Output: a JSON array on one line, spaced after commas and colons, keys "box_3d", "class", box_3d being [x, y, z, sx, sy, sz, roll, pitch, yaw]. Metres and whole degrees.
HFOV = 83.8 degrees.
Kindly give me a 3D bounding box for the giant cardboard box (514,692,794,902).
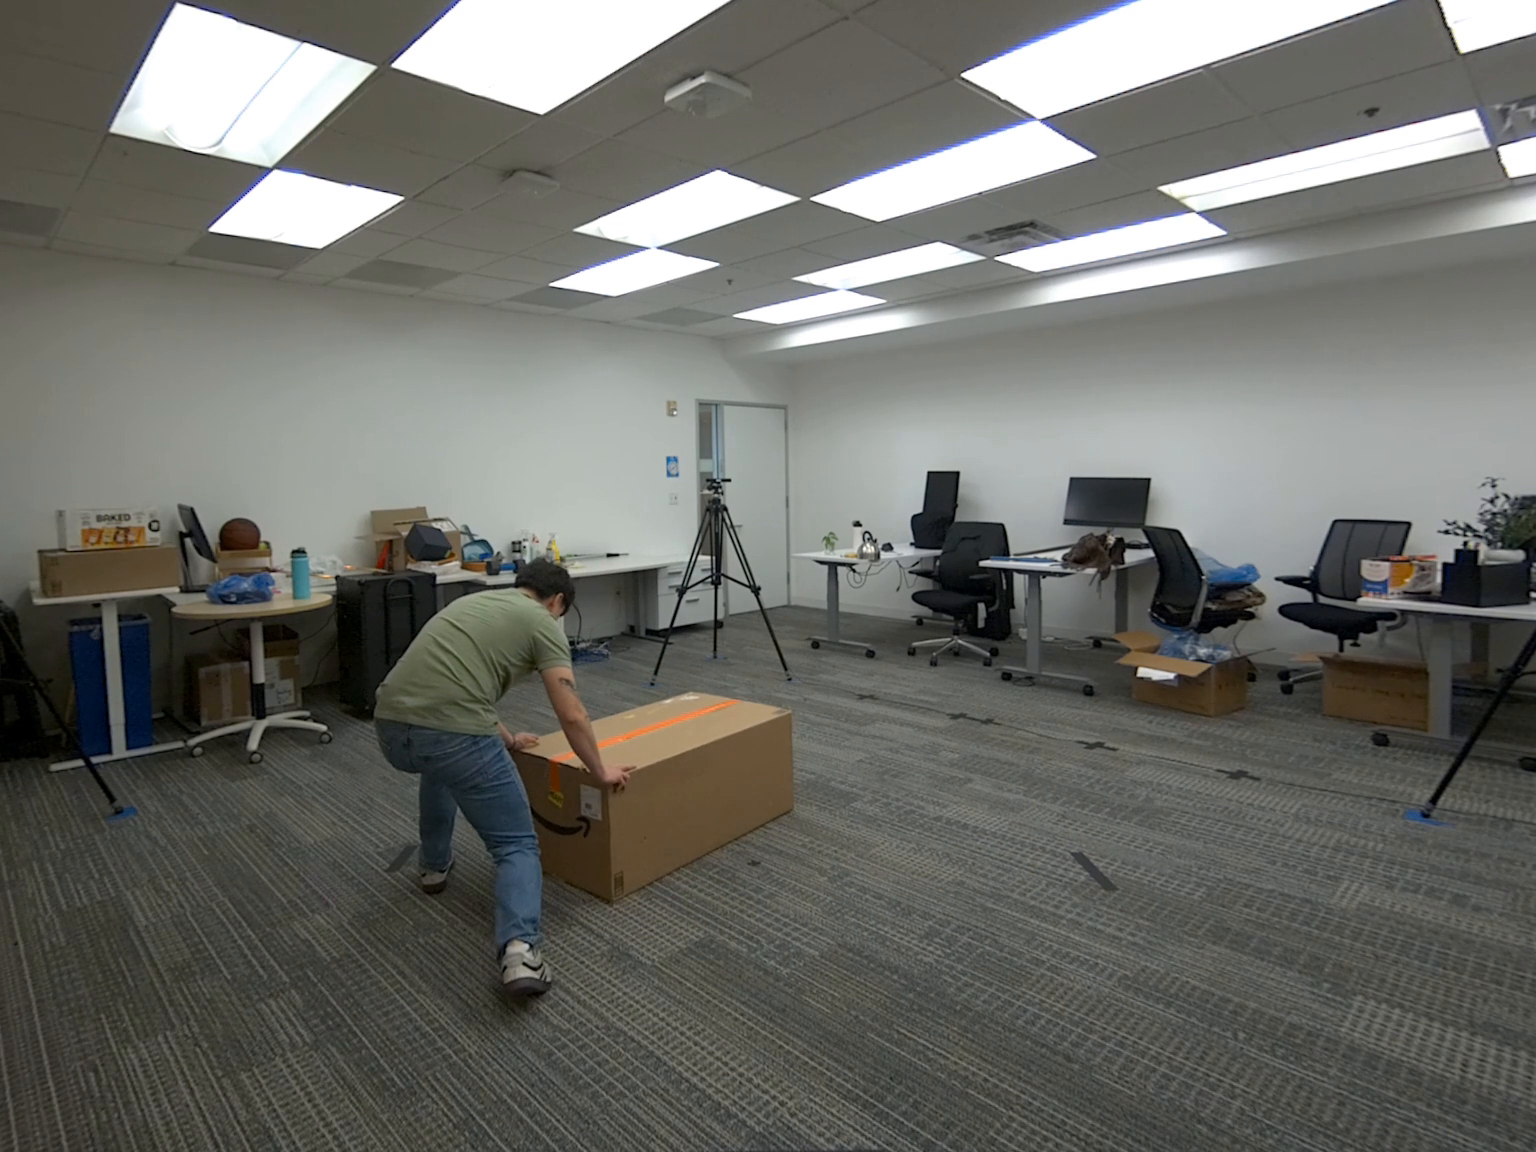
[{"box_3d": [-0.429, 0.806, 3.387, 0.594, 0.424, 1.000, 2, 7, 39], "class": "giant cardboard box"}]
